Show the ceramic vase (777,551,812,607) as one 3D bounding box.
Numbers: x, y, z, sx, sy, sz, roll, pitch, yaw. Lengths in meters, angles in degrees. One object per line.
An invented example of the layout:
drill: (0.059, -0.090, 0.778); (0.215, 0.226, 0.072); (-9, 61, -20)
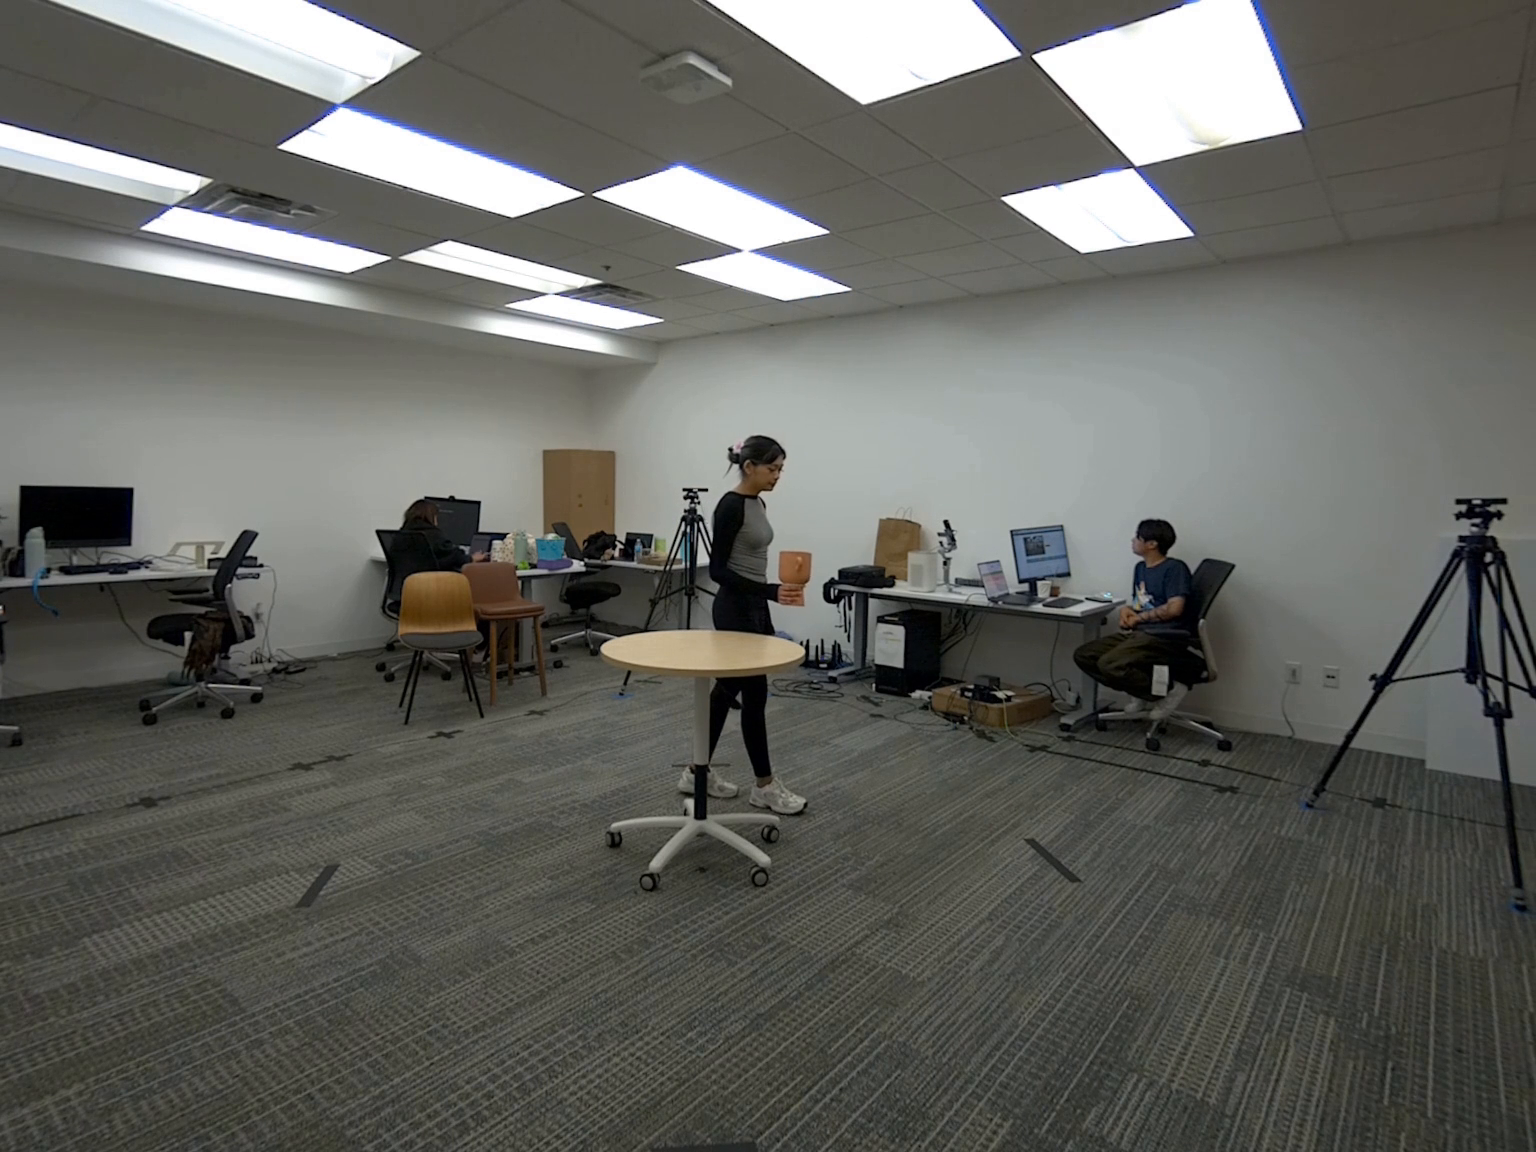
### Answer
ceramic vase: (0.095, 0.005, 3.512); (0.138, 0.220, 0.154); (2, -4, 30)
